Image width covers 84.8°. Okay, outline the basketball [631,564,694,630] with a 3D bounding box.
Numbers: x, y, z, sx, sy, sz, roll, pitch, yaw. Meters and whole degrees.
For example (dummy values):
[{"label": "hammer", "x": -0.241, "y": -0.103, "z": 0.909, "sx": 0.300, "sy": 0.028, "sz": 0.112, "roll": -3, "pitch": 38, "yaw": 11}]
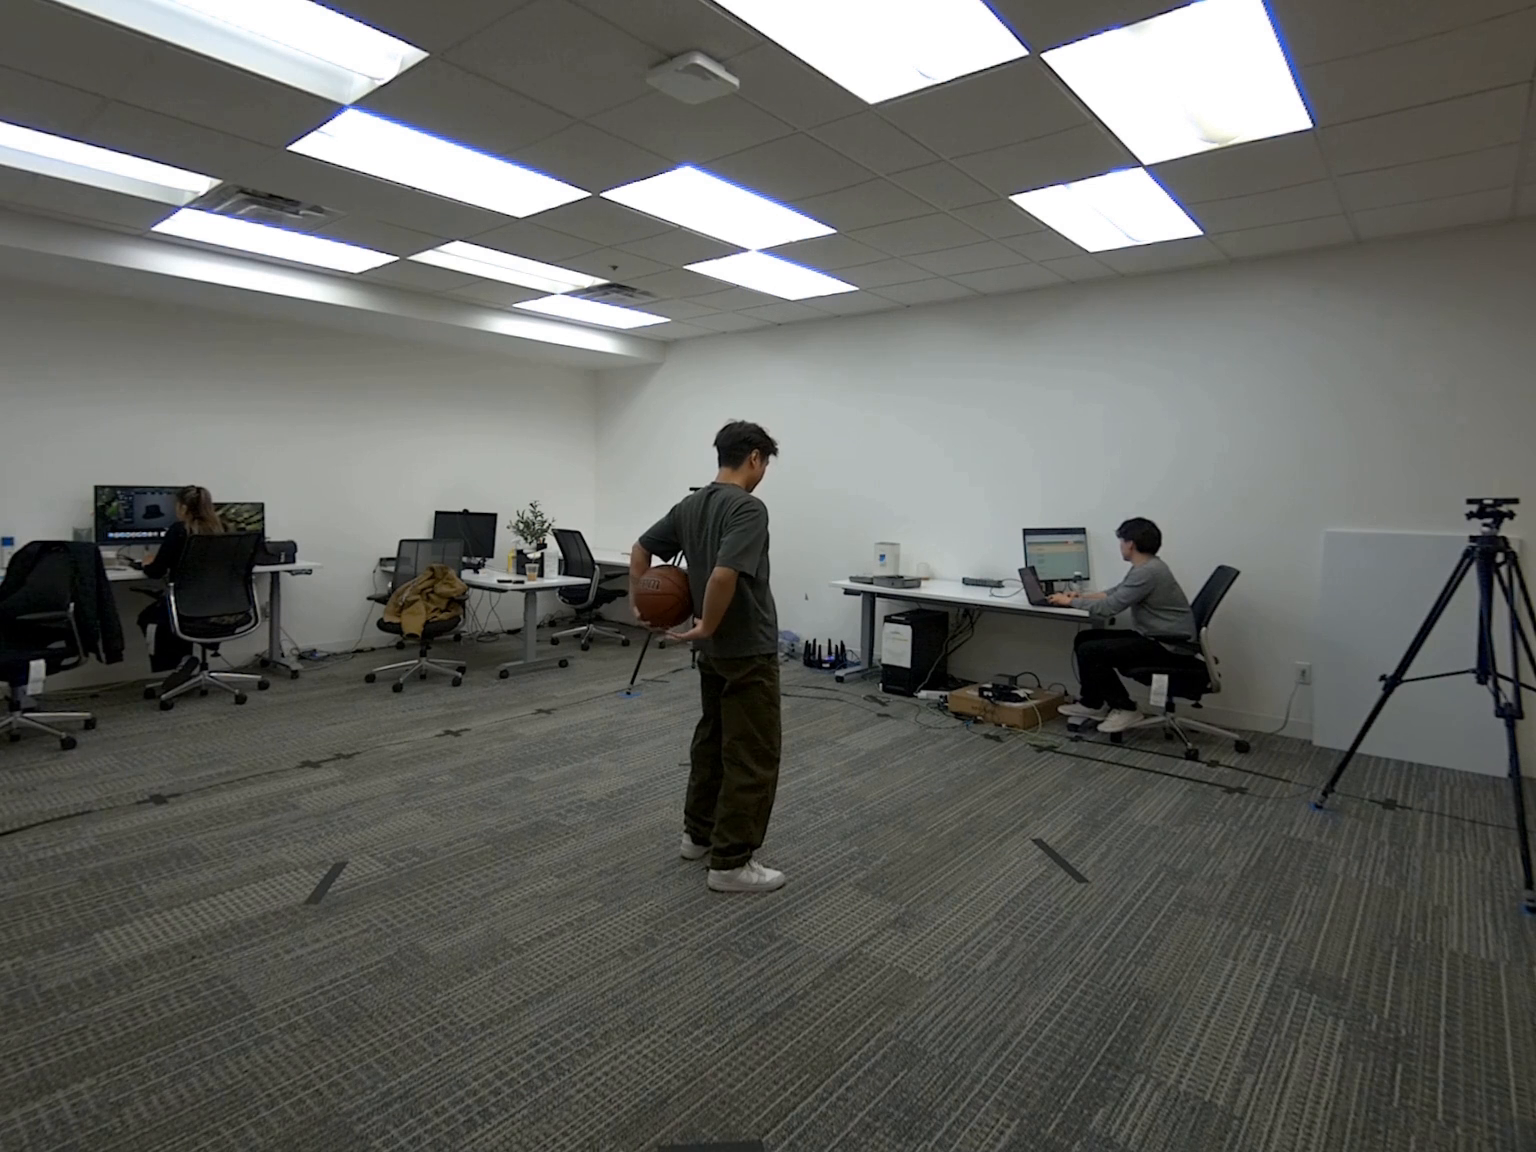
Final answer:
[{"label": "basketball", "x": -0.384, "y": 0.077, "z": 3.205, "sx": 0.235, "sy": 0.235, "sz": 0.237, "roll": 1, "pitch": 4, "yaw": -2}]
